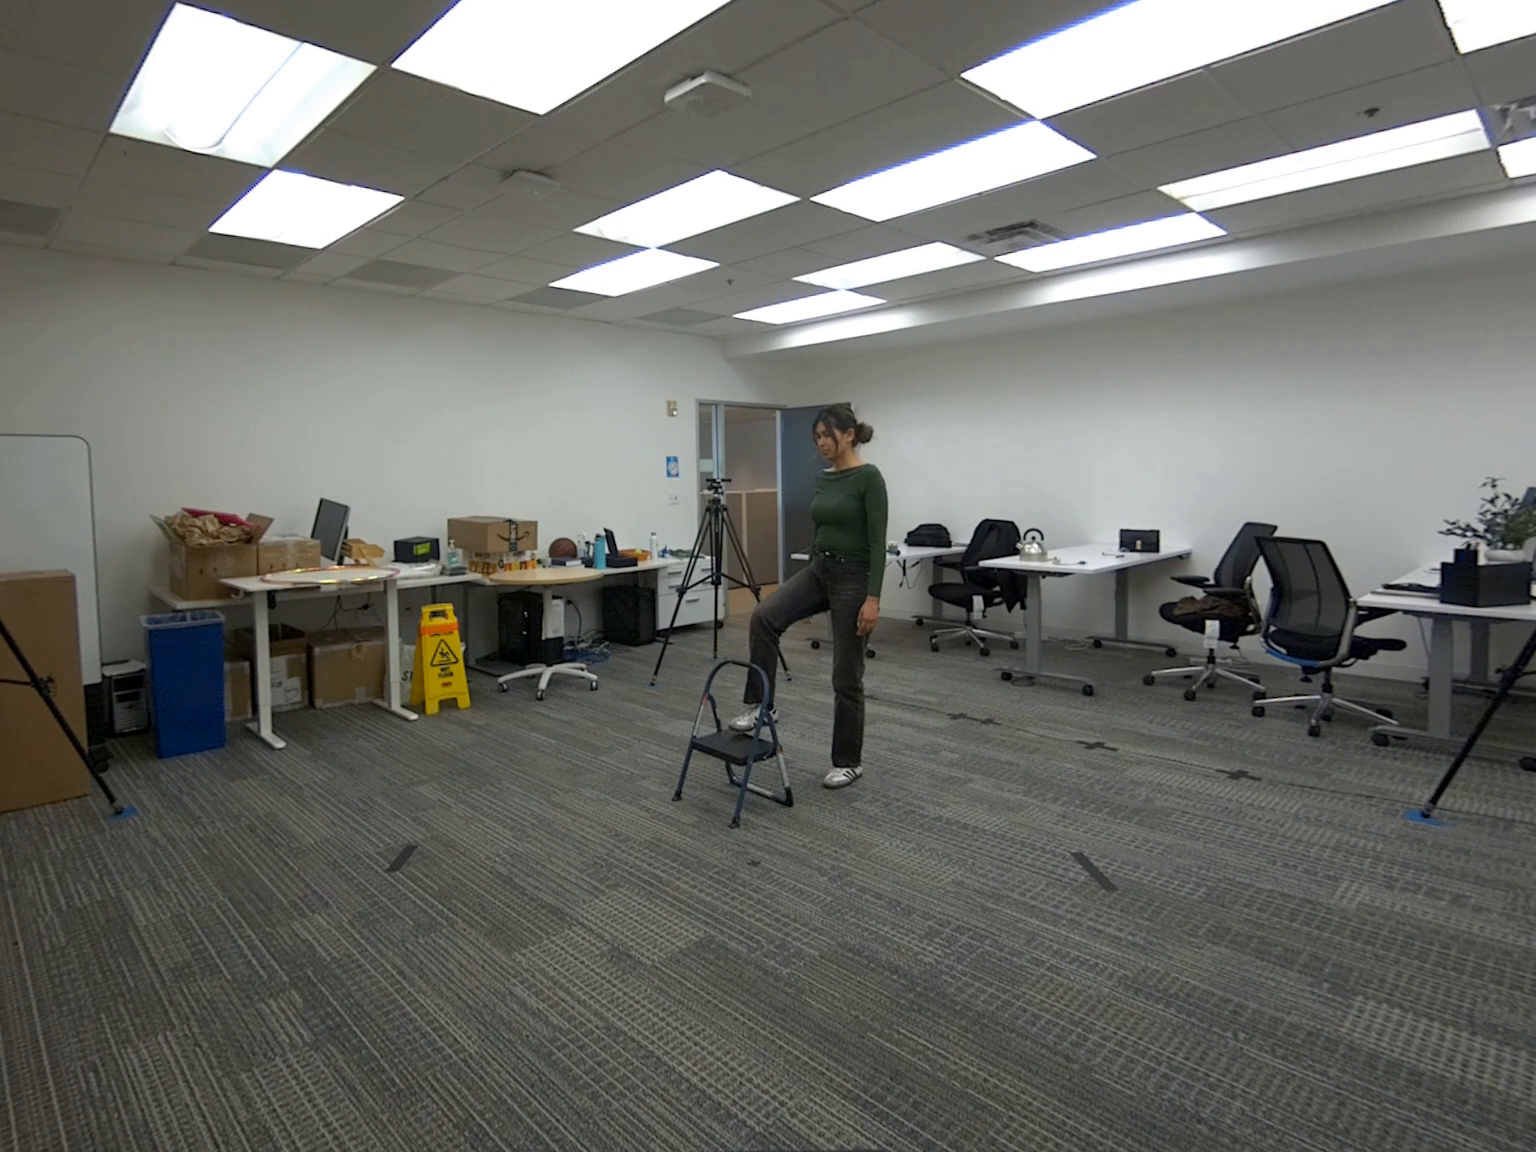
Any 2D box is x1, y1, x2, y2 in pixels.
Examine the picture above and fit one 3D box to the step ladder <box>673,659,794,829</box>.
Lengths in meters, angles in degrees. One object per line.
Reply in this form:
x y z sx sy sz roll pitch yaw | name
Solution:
-0.156 0.678 3.671 0.340 0.604 0.444 -4 5 -41 | step ladder
